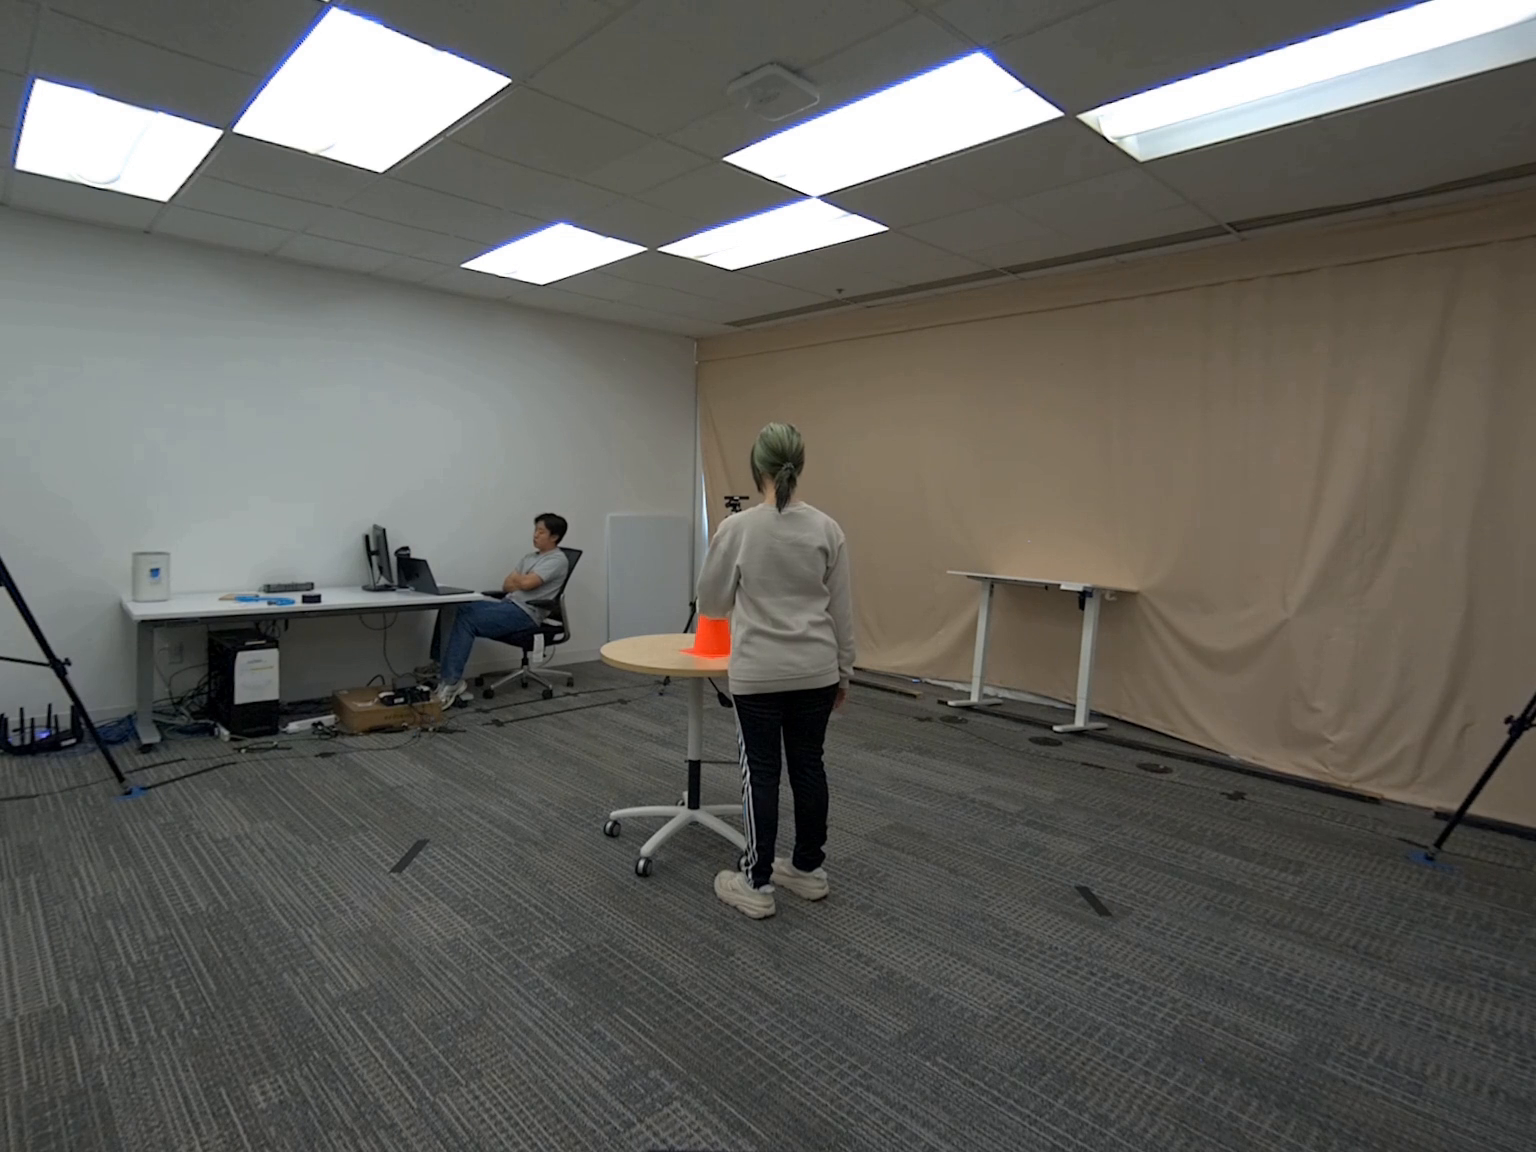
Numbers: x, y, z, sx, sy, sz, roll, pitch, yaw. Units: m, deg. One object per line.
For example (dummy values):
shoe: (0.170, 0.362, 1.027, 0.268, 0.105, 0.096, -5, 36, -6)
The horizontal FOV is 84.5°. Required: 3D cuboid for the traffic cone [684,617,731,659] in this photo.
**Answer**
traffic cone: (-0.219, 0.113, 3.306, 0.208, 0.383, 0.200, 5, 5, 39)
